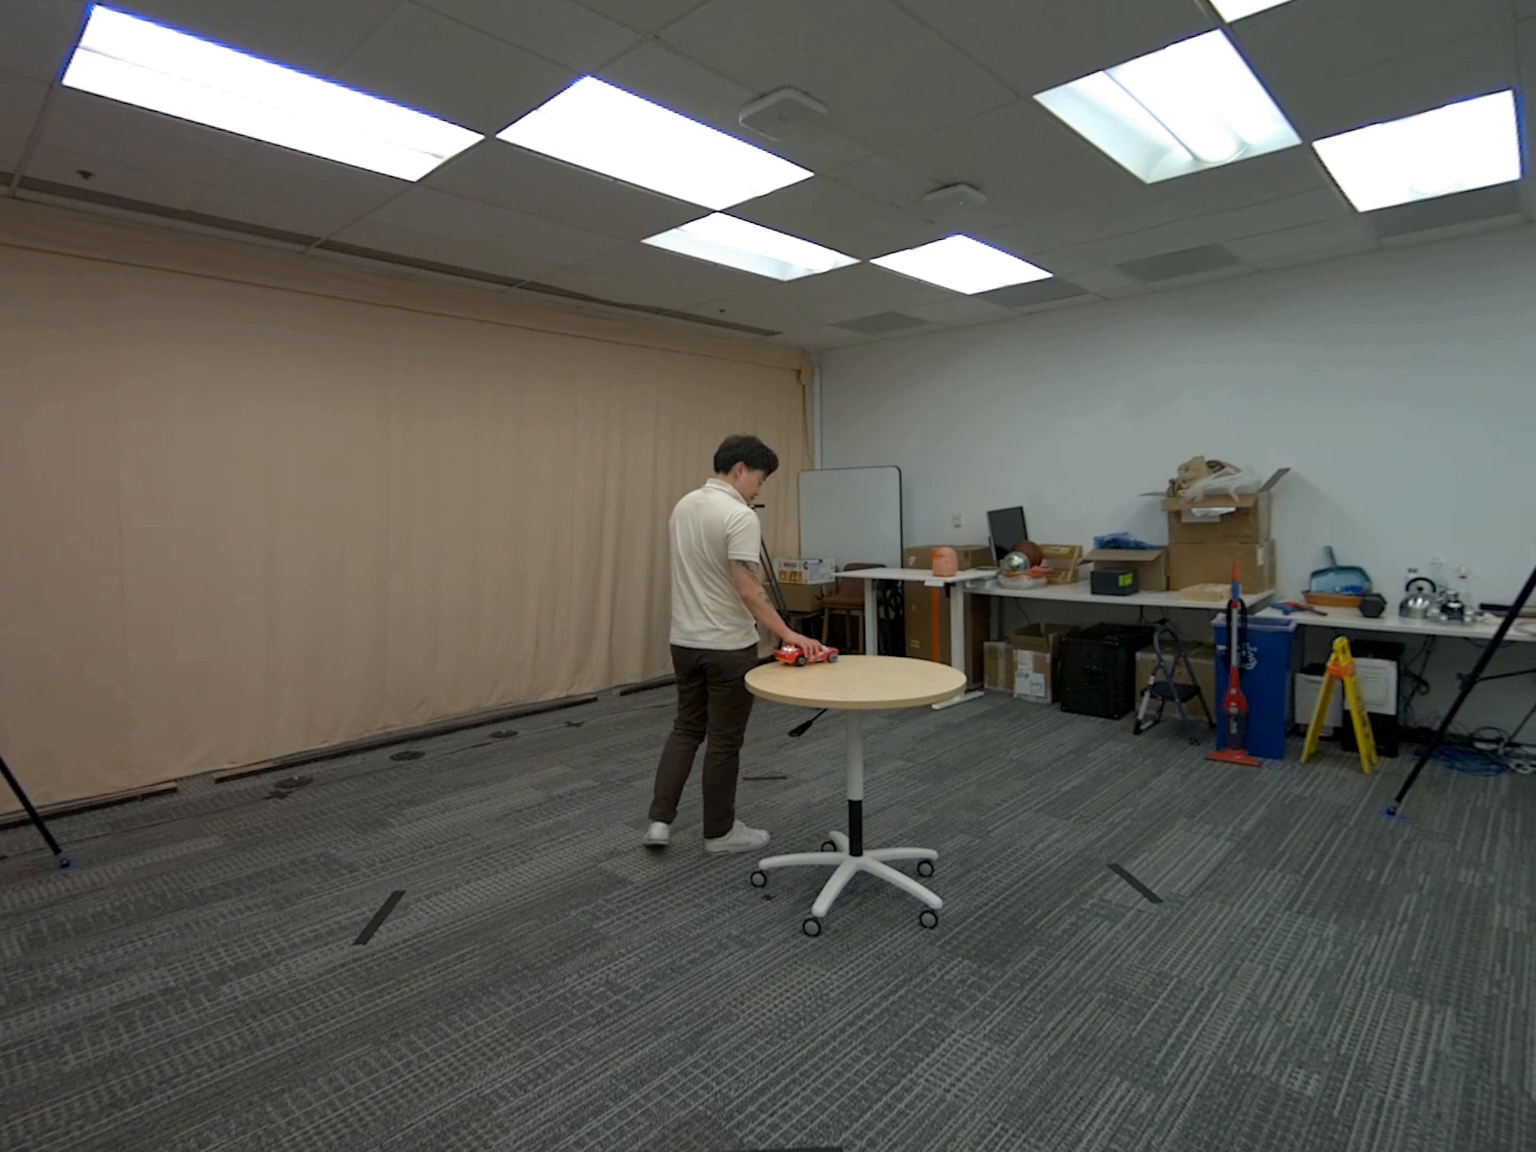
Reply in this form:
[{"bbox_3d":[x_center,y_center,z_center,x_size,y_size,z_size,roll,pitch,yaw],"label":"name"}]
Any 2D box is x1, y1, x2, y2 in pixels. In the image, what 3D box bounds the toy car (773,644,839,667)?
[{"bbox_3d":[0.141,0.304,3.205,0.247,0.083,0.134,8,0,-28],"label":"toy car"}]
